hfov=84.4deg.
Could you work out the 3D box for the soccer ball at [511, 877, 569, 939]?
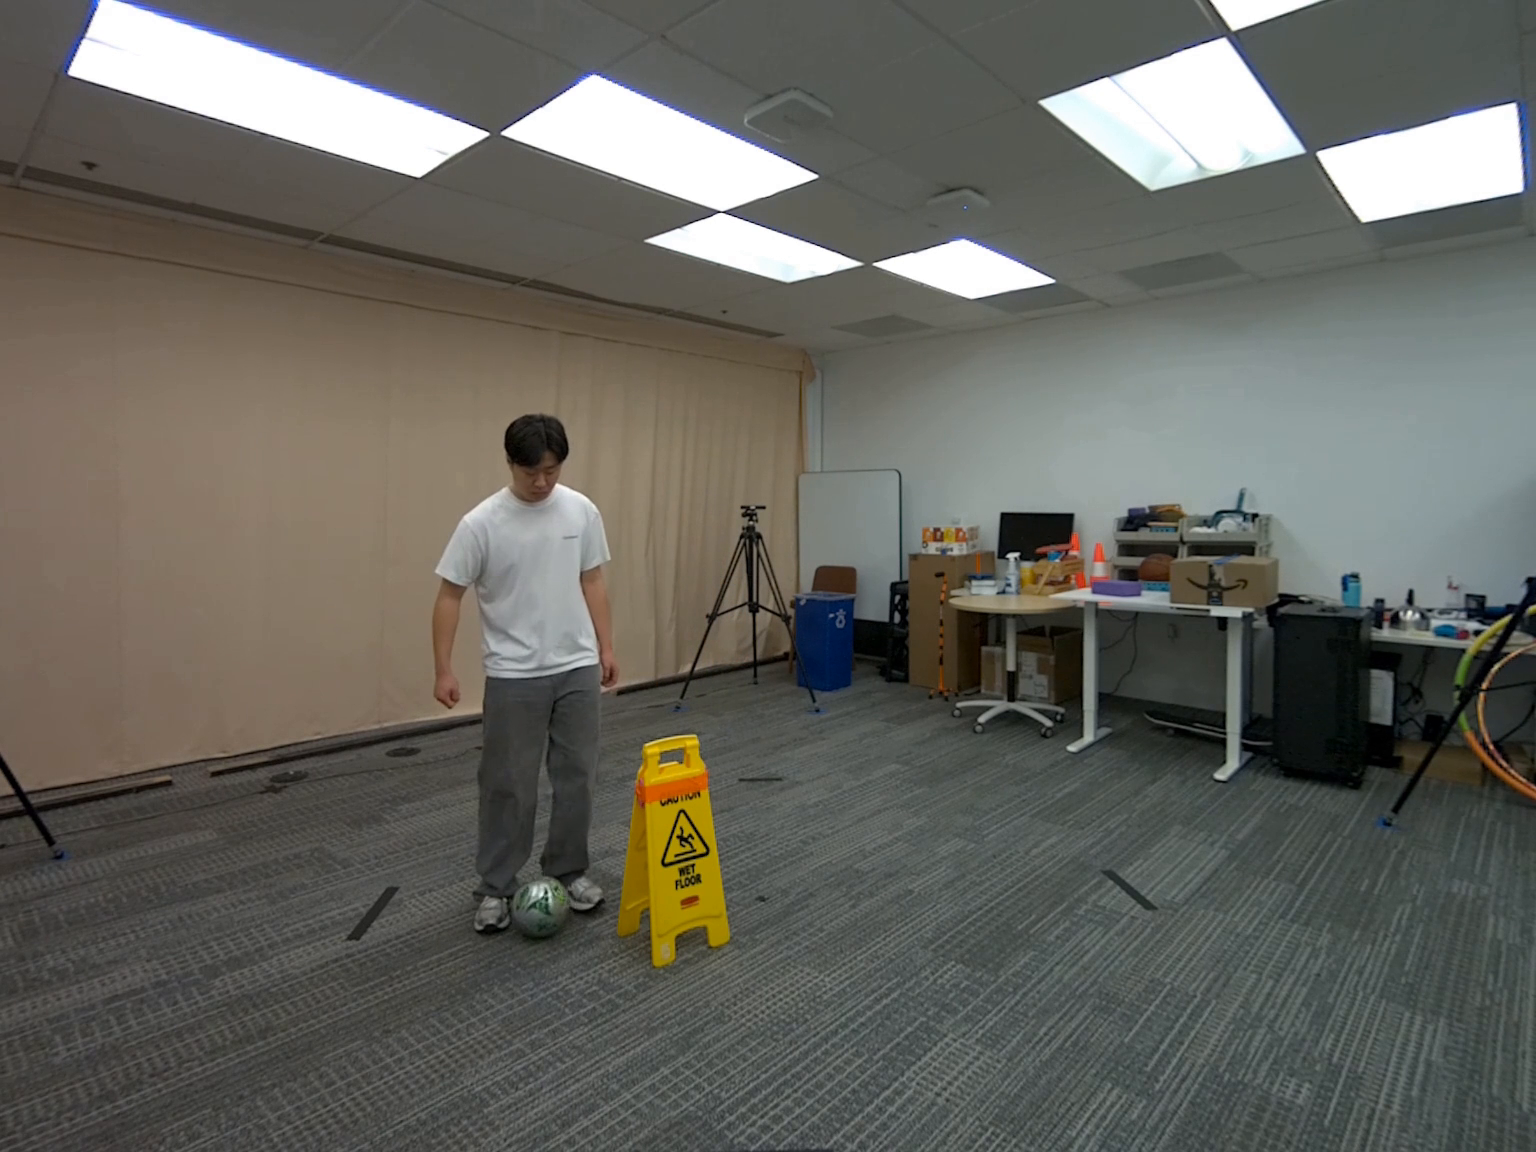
[{"bbox_3d":[-0.745,1.073,2.758,0.187,0.187,0.188,0,4,-2],"label":"soccer ball"}]
